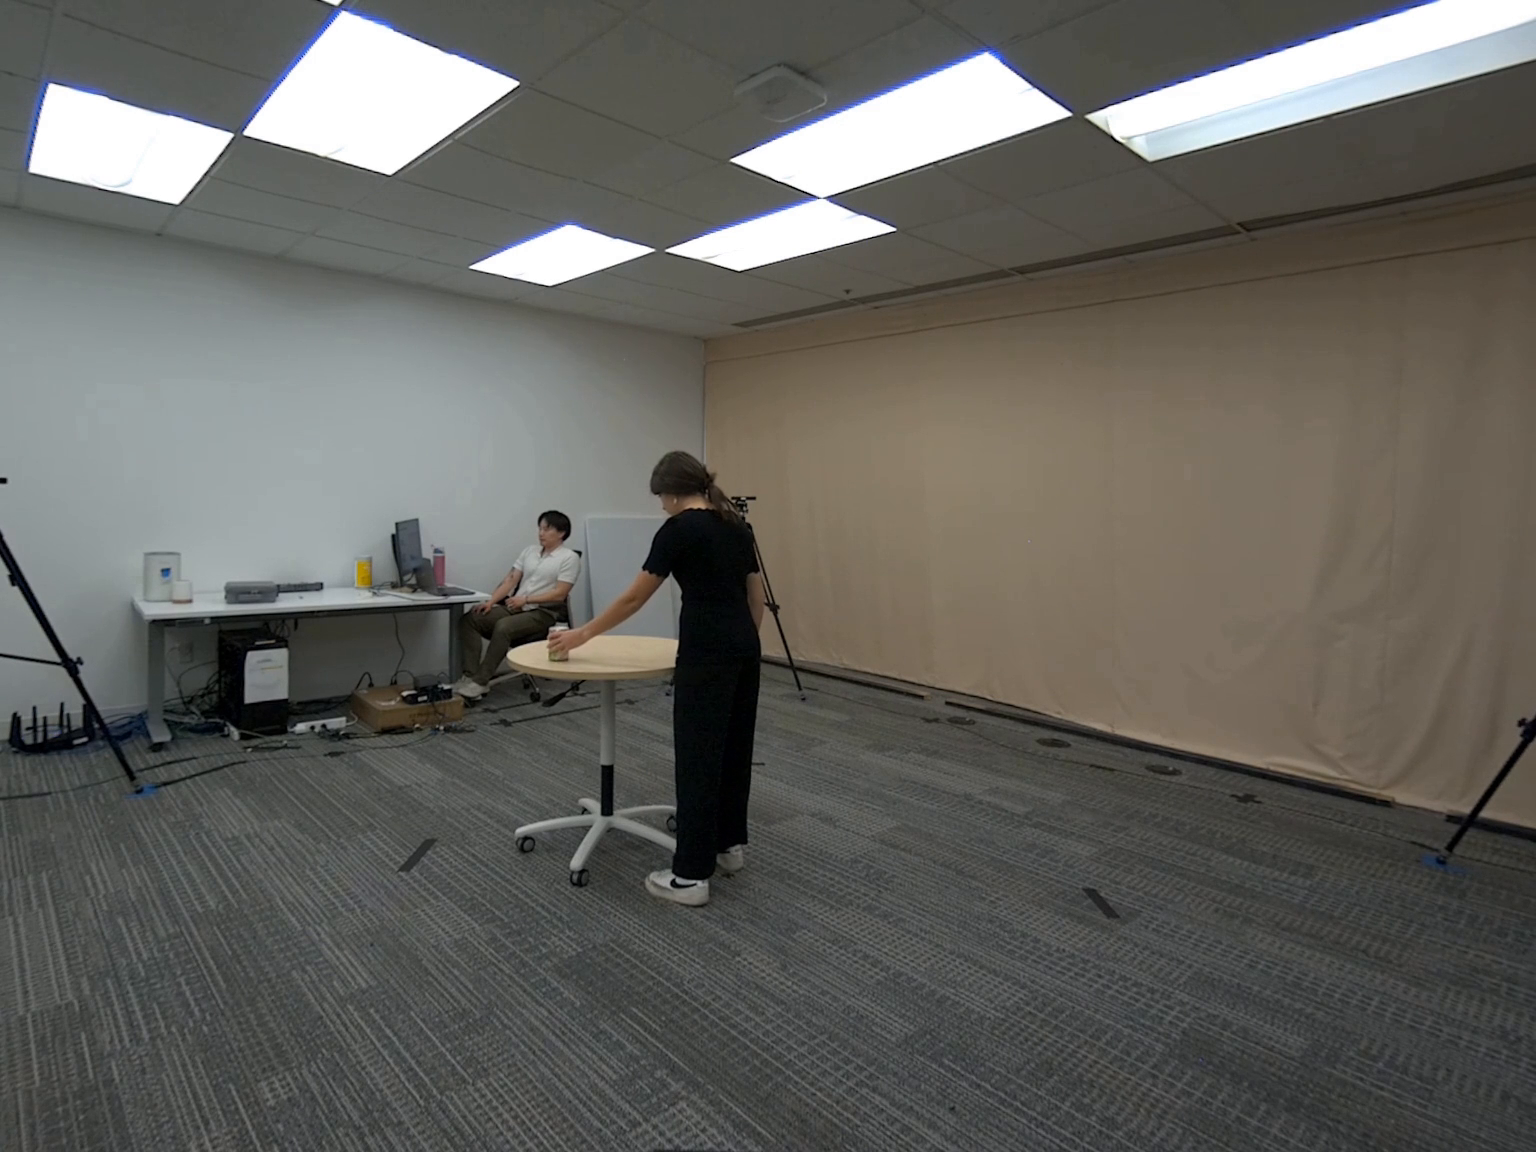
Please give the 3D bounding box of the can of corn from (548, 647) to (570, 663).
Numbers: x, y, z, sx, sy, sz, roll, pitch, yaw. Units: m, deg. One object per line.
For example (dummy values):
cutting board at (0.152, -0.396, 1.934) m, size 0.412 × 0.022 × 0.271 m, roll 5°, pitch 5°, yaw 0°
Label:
can of corn at (-0.773, 0.245, 3.102) m, size 0.074 × 0.111 × 0.074 m, roll 2°, pitch 3°, yaw -1°
